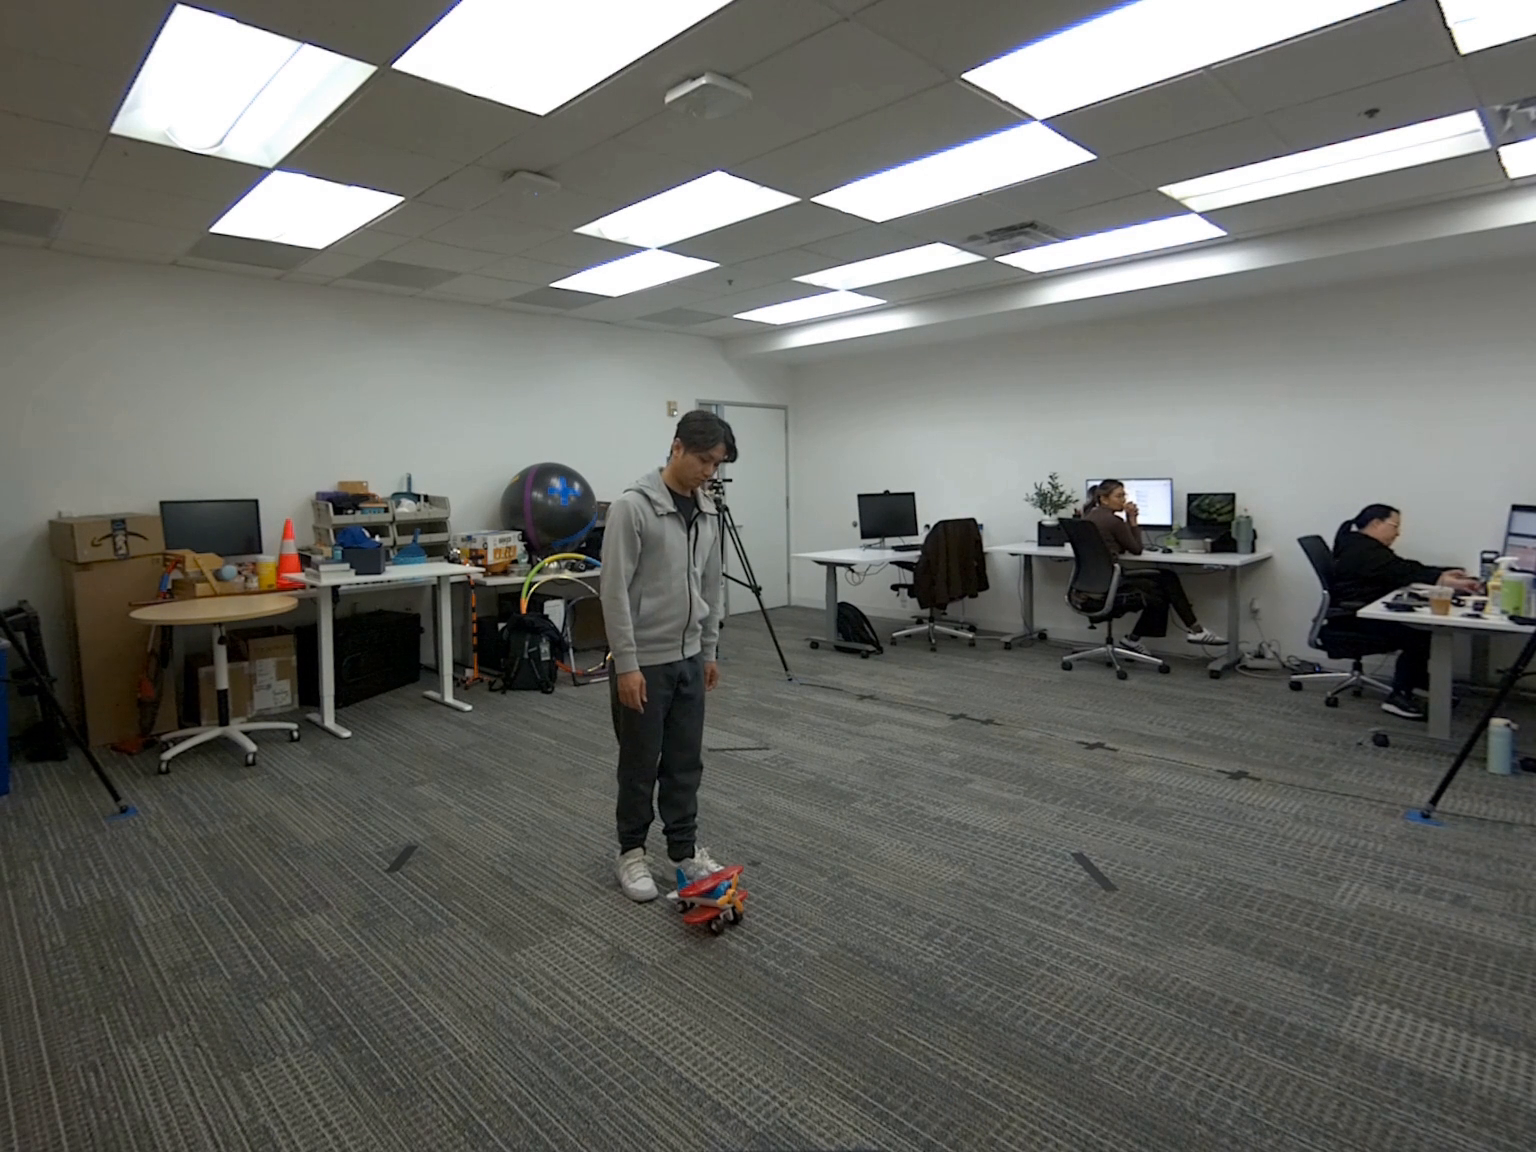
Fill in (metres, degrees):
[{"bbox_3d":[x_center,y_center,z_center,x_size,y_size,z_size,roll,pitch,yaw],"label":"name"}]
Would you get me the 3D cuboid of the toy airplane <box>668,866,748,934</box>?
[{"bbox_3d":[-0.204,1.024,2.697,0.263,0.156,0.249,2,6,14],"label":"toy airplane"}]
